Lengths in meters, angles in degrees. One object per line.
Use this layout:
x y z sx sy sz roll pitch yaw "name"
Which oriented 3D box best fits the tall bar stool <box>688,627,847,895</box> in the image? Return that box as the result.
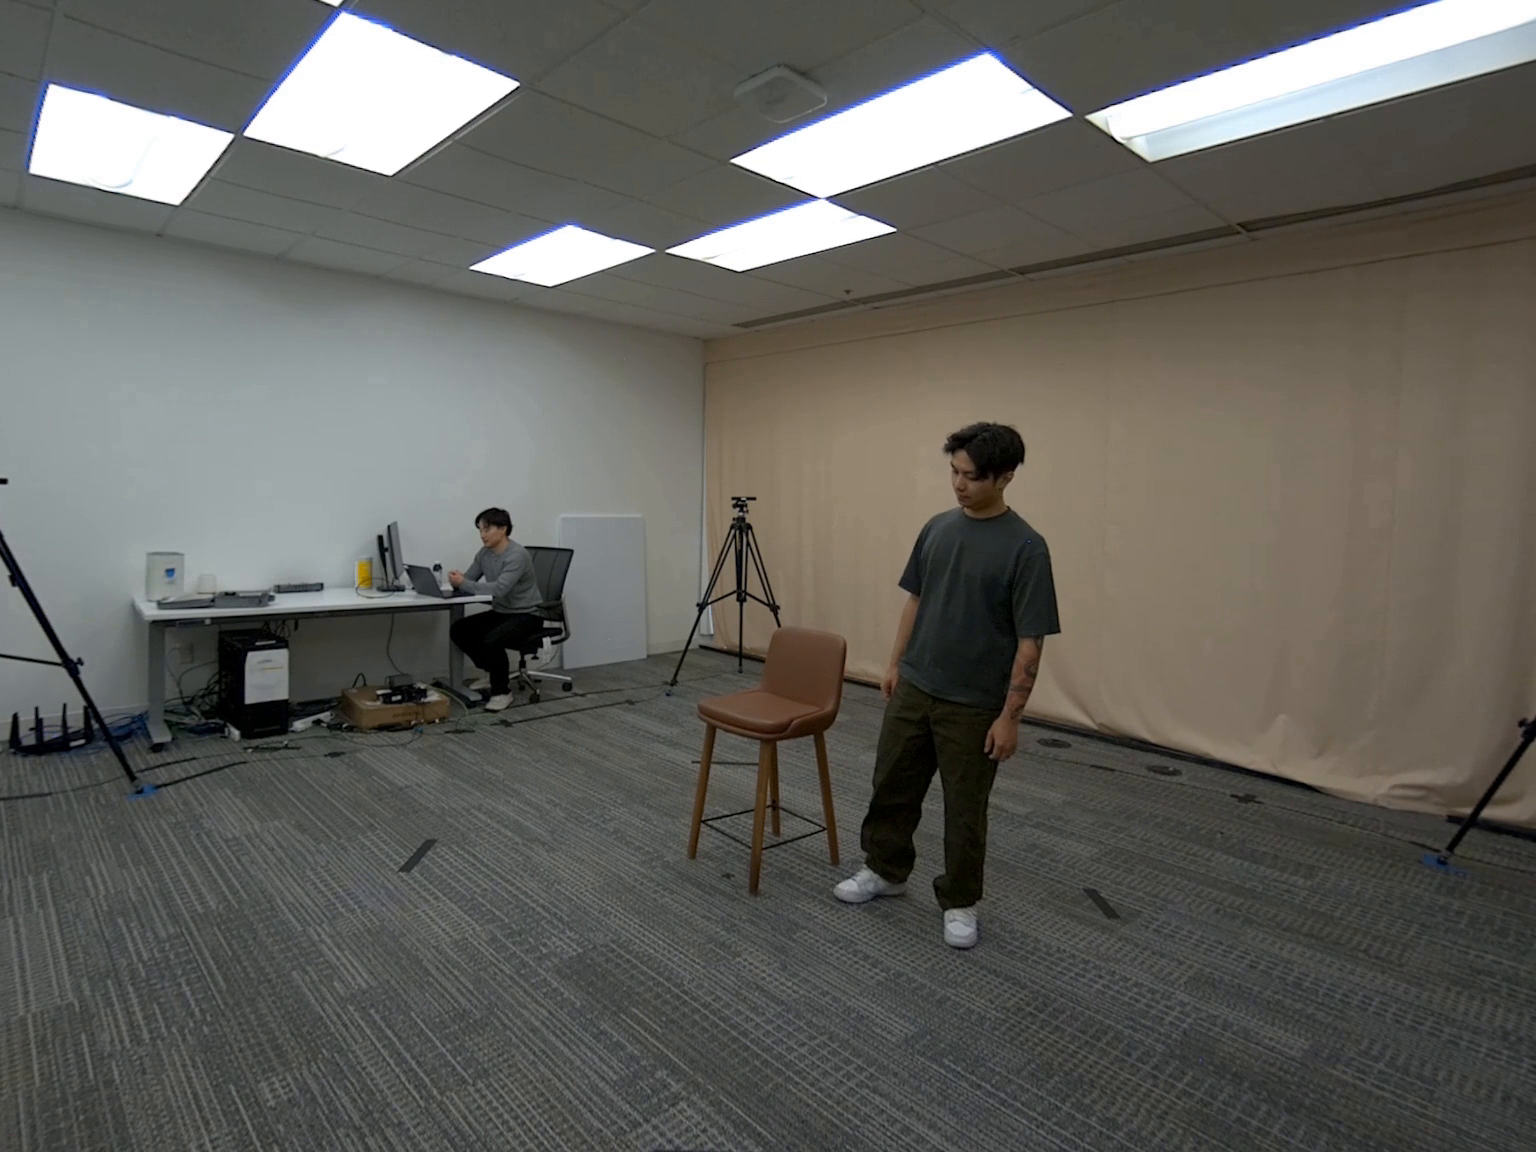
-0.003 0.664 3.221 0.456 0.889 0.468 2 2 -39 "tall bar stool"
